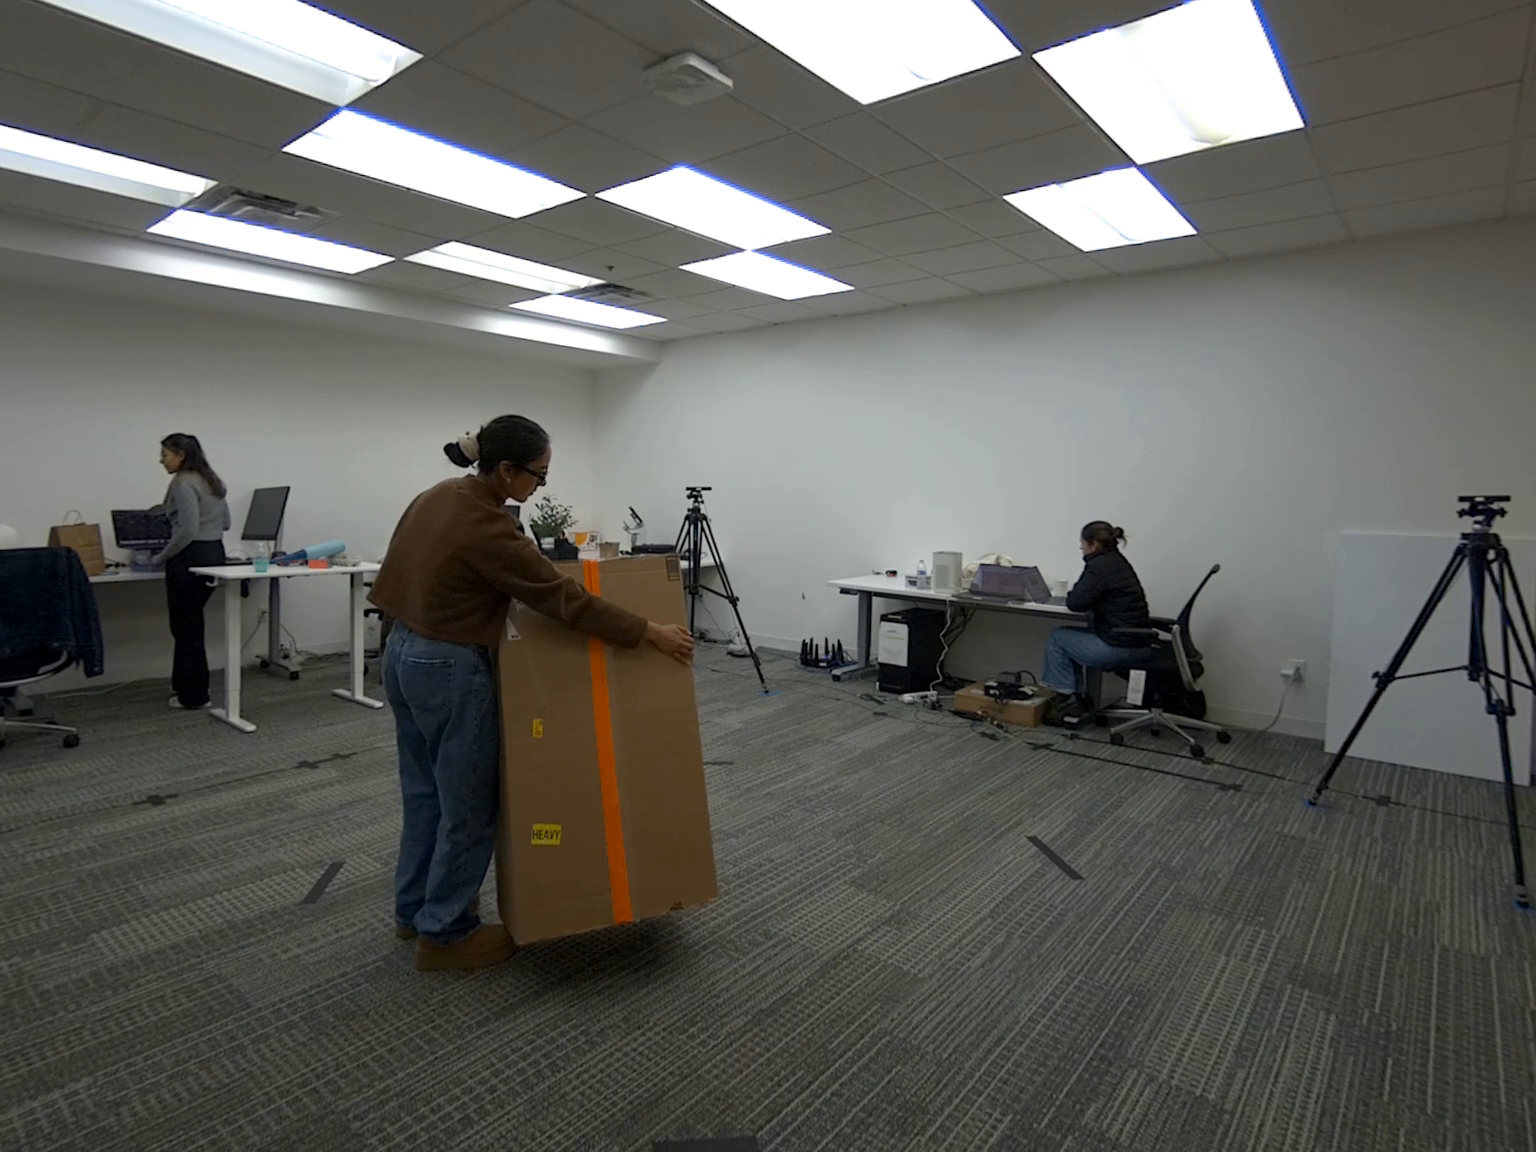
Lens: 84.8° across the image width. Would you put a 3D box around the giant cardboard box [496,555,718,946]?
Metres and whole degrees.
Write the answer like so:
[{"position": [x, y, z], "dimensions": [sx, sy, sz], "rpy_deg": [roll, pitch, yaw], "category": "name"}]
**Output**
[{"position": [-0.560, 0.489, 2.622], "dimensions": [0.565, 1.038, 0.430], "rpy_deg": [-3, -11, -24], "category": "giant cardboard box"}]
